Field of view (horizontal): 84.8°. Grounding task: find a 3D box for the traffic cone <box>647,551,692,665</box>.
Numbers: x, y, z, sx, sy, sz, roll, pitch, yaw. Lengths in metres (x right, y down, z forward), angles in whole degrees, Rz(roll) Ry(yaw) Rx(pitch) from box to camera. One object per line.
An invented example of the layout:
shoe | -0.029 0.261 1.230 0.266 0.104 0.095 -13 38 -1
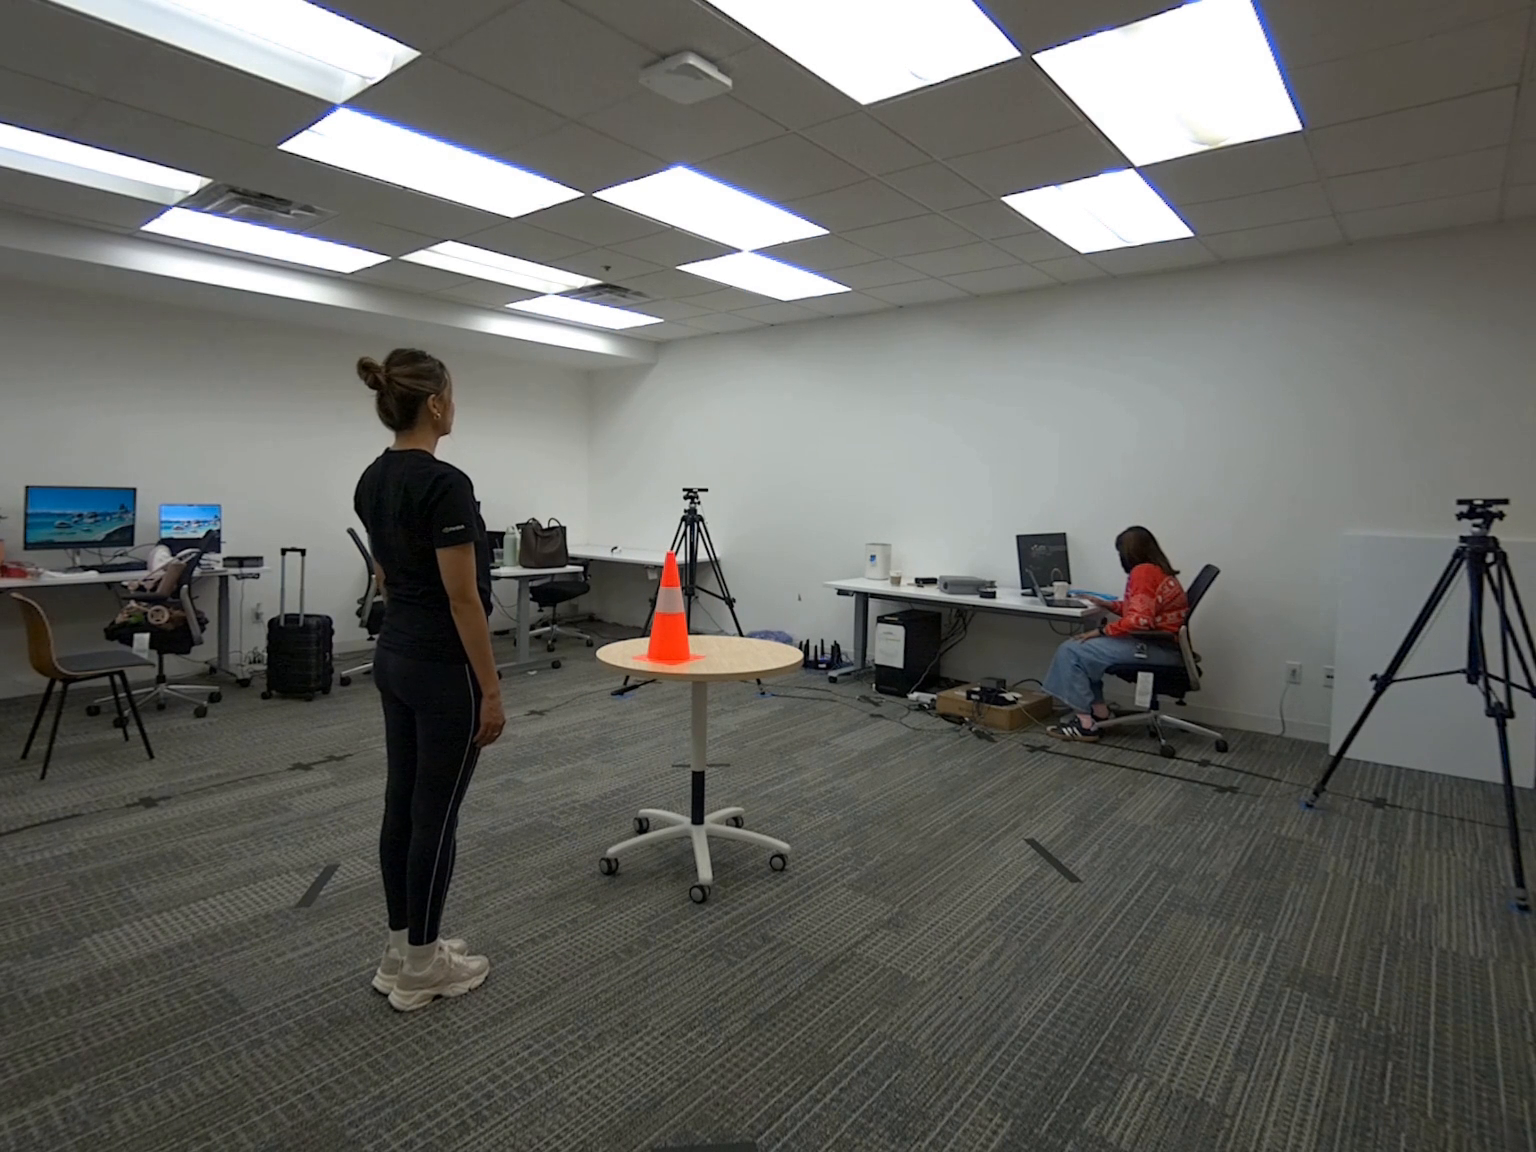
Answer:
traffic cone | -0.371 0.105 3.031 0.209 0.382 0.200 1 4 30
